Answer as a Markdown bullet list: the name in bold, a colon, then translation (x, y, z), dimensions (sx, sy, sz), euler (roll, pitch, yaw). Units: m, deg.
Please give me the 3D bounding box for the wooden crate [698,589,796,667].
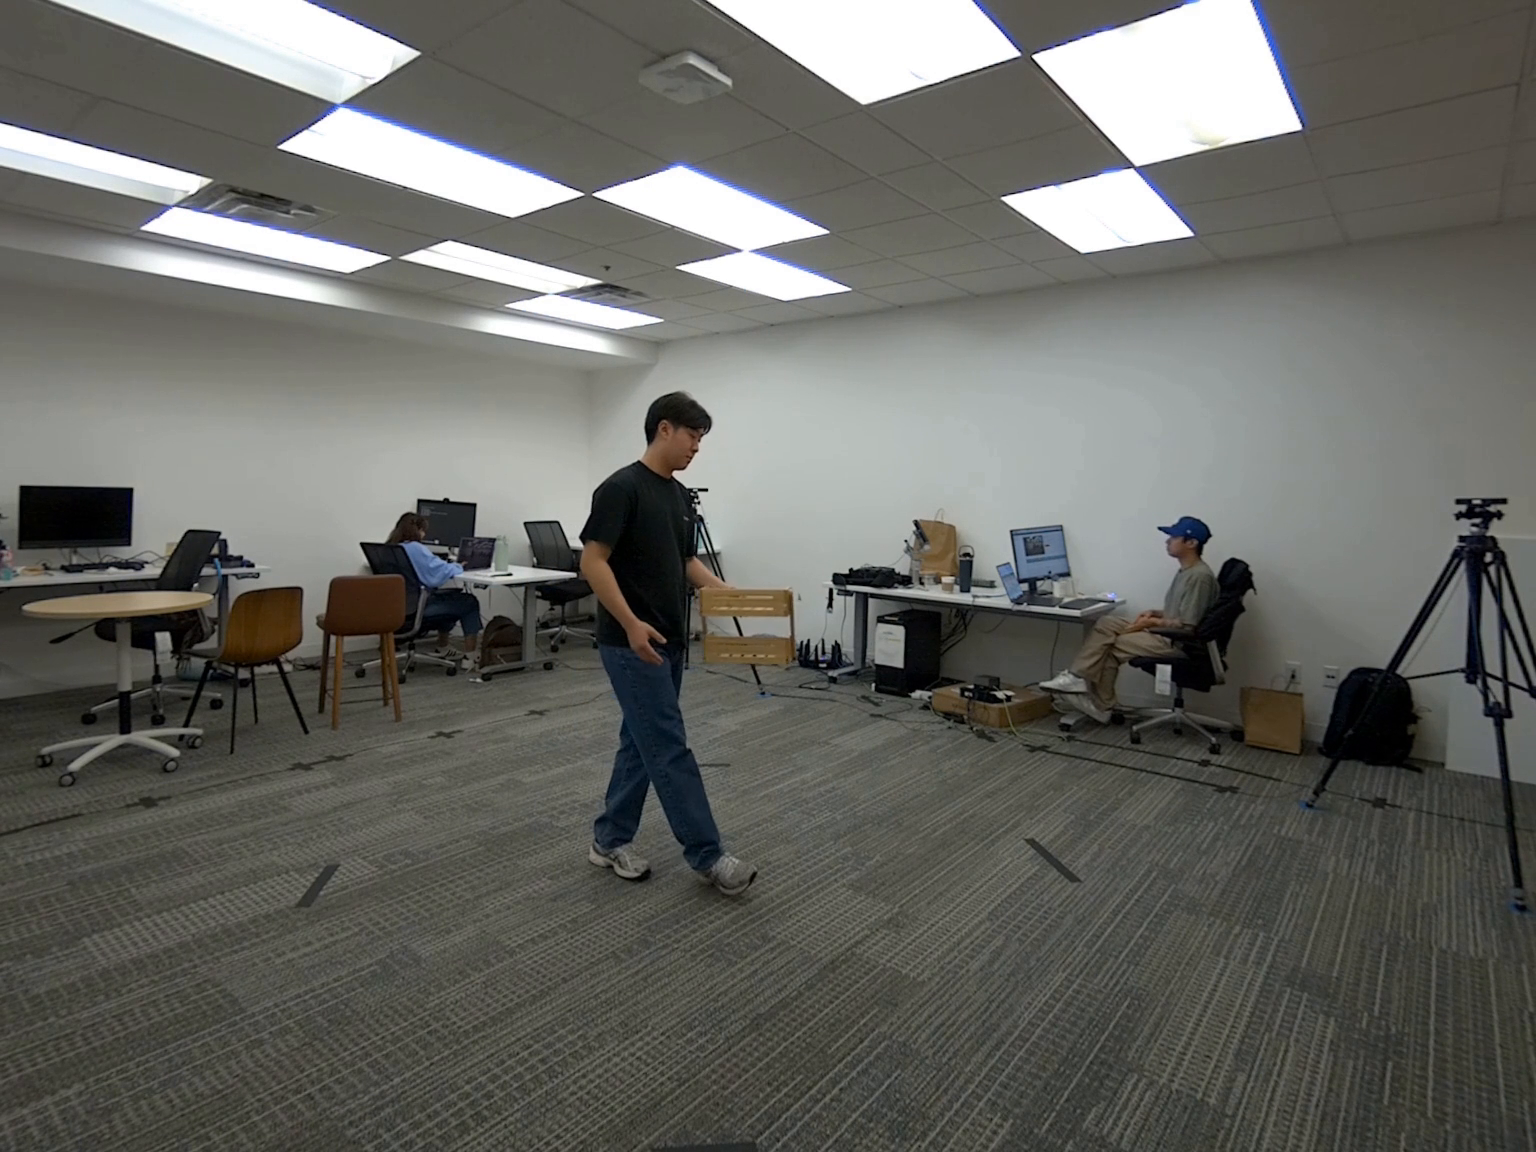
- **wooden crate**: translation (-0.080, 0.165, 3.028), dimensions (0.327, 0.273, 0.299), euler (0, 0, 7)
